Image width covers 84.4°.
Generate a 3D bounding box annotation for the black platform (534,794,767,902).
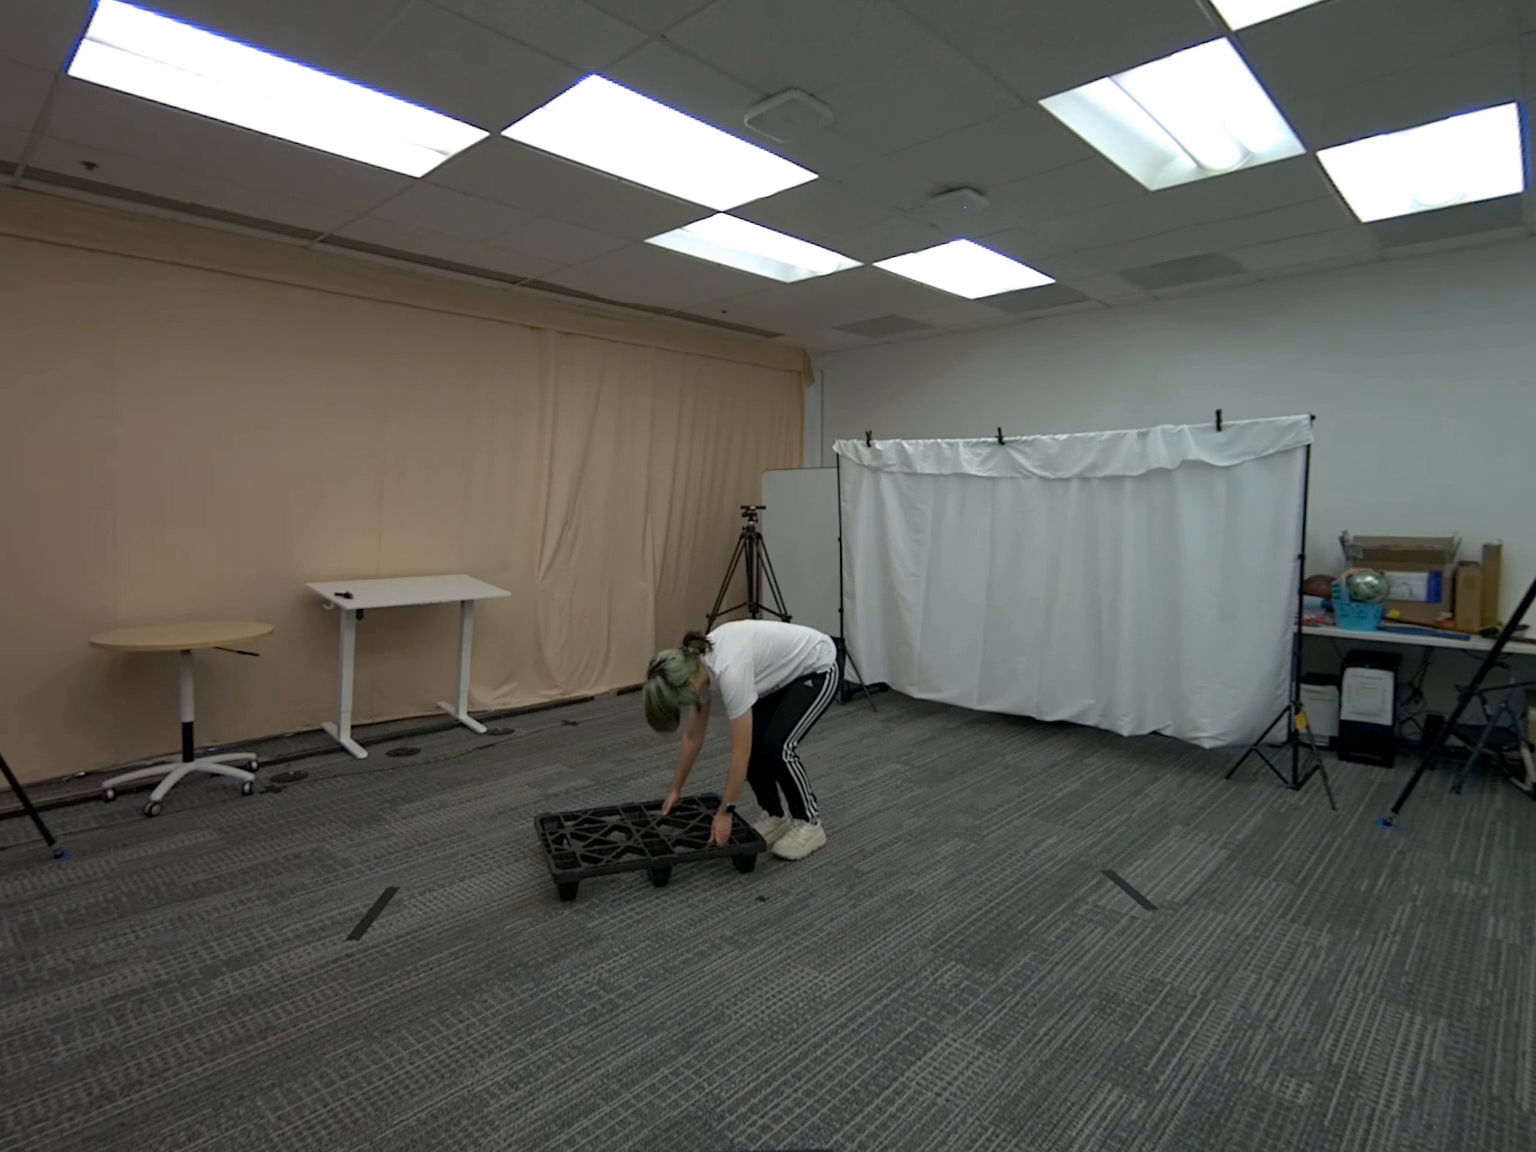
[{"bbox_3d":[-0.483,1.054,3.302,0.790,0.143,0.618,-2,4,-20],"label":"black platform"}]
